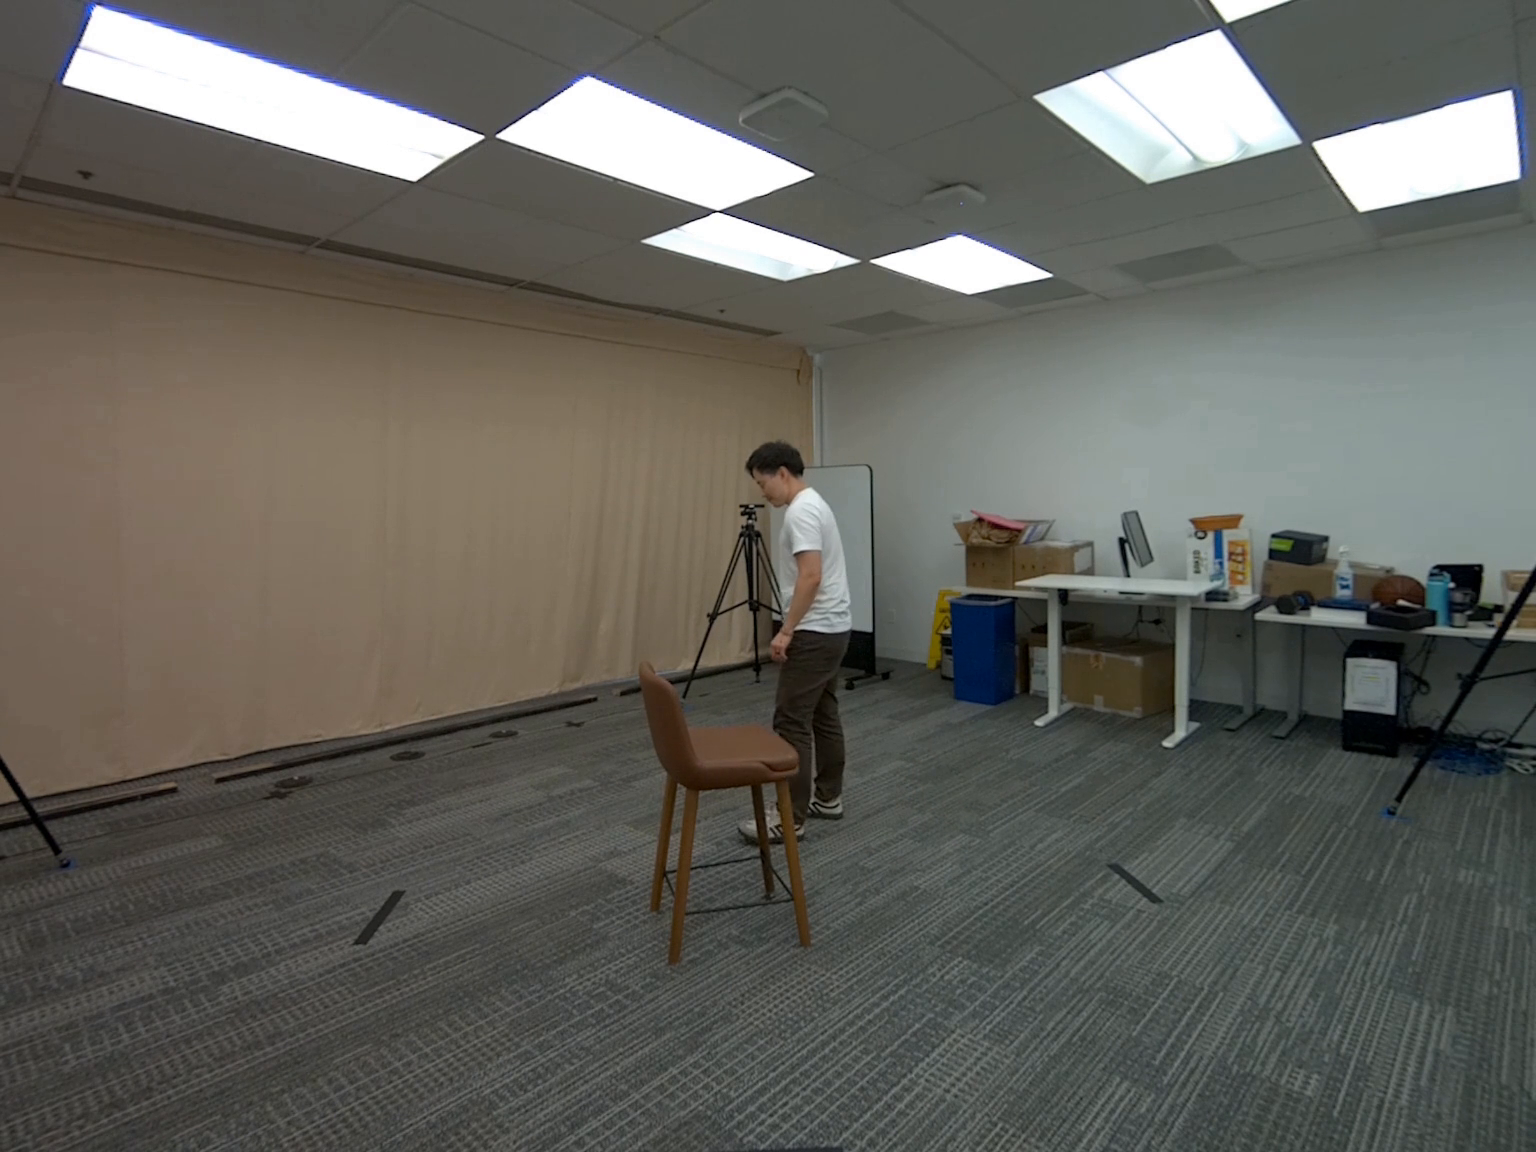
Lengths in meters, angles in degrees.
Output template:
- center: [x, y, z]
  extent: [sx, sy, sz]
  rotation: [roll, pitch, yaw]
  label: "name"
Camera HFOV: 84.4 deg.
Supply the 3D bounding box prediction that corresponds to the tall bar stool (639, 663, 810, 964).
- center: [-0.151, 0.725, 2.765]
  extent: [0.460, 0.887, 0.465]
  rotation: [-4, 4, -16]
  label: "tall bar stool"
